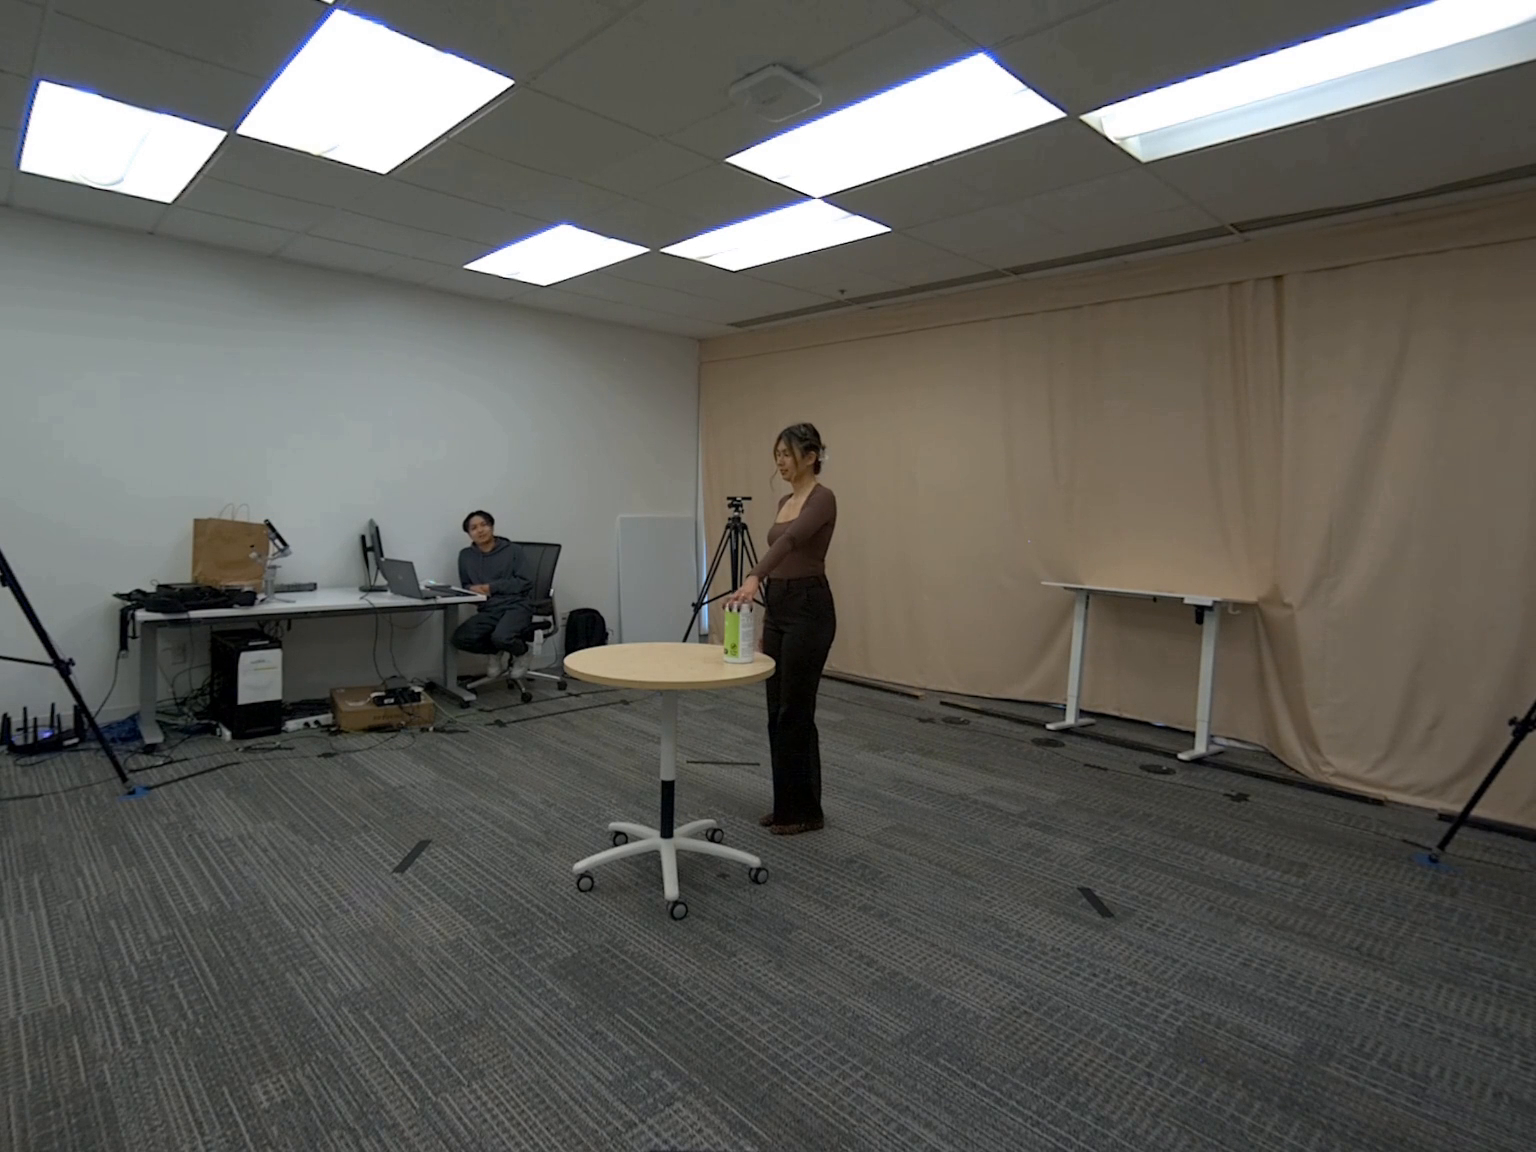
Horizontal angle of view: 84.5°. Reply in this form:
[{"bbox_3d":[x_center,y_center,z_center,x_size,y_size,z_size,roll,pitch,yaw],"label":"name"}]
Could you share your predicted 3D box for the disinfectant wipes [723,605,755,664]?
[{"bbox_3d":[-0.107,0.206,3.072,0.118,0.217,0.118,1,2,-1],"label":"disinfectant wipes"}]
